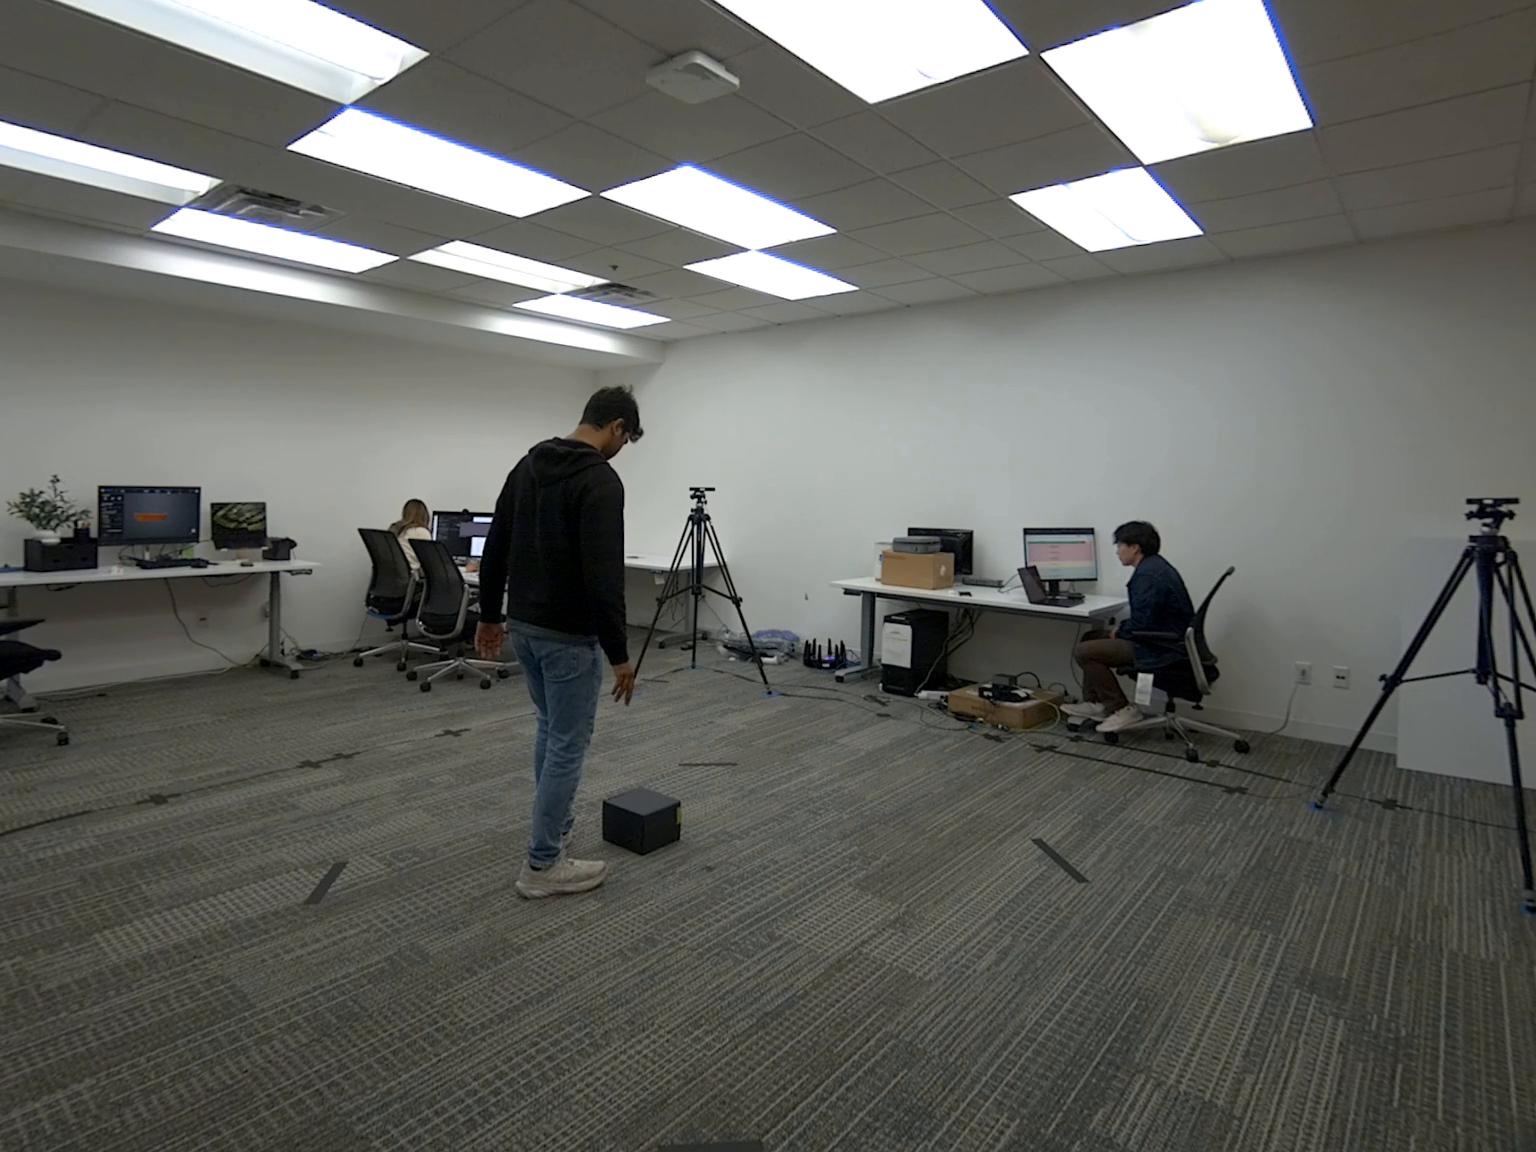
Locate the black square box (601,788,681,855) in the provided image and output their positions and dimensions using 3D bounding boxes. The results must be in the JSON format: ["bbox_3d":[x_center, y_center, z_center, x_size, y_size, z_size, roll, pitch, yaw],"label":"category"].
[{"bbox_3d":[-0.519,0.954,3.345,0.235,0.155,0.210,4,5,38],"label":"black square box"}]
